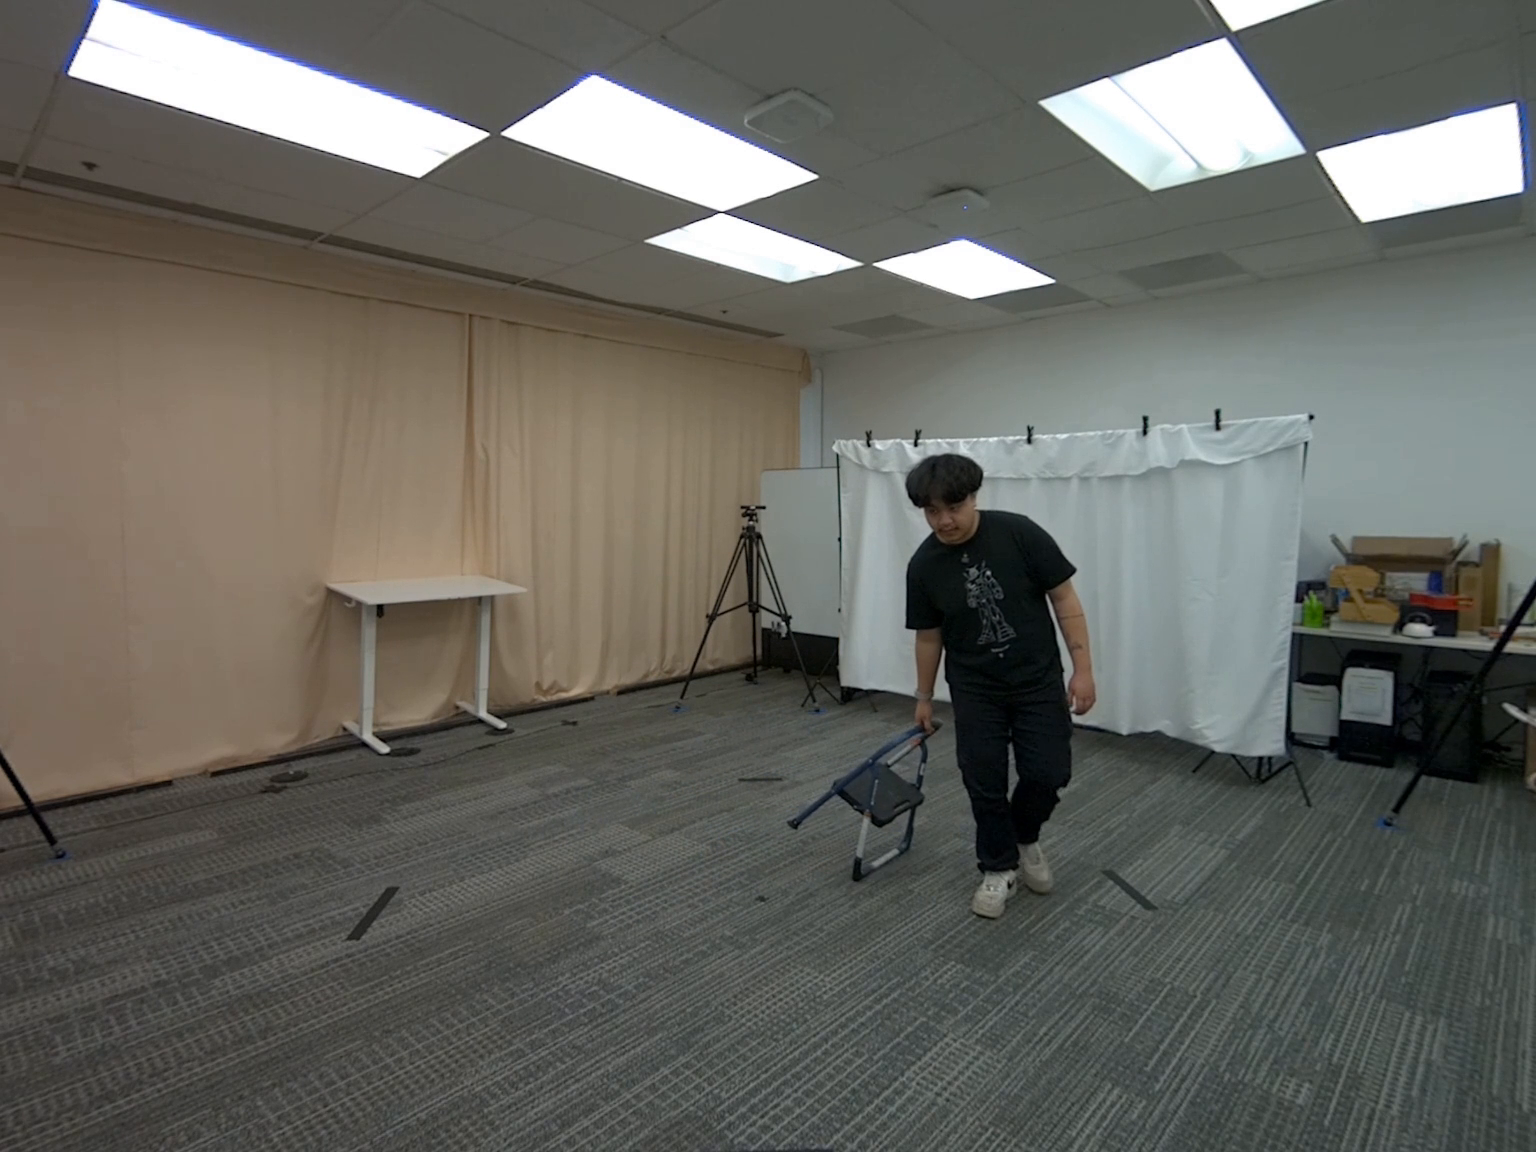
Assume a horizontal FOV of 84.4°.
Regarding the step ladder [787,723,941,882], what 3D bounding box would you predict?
[{"bbox_3d":[0.433,0.778,3.261,0.361,0.604,0.418,34,23,32],"label":"step ladder"}]
